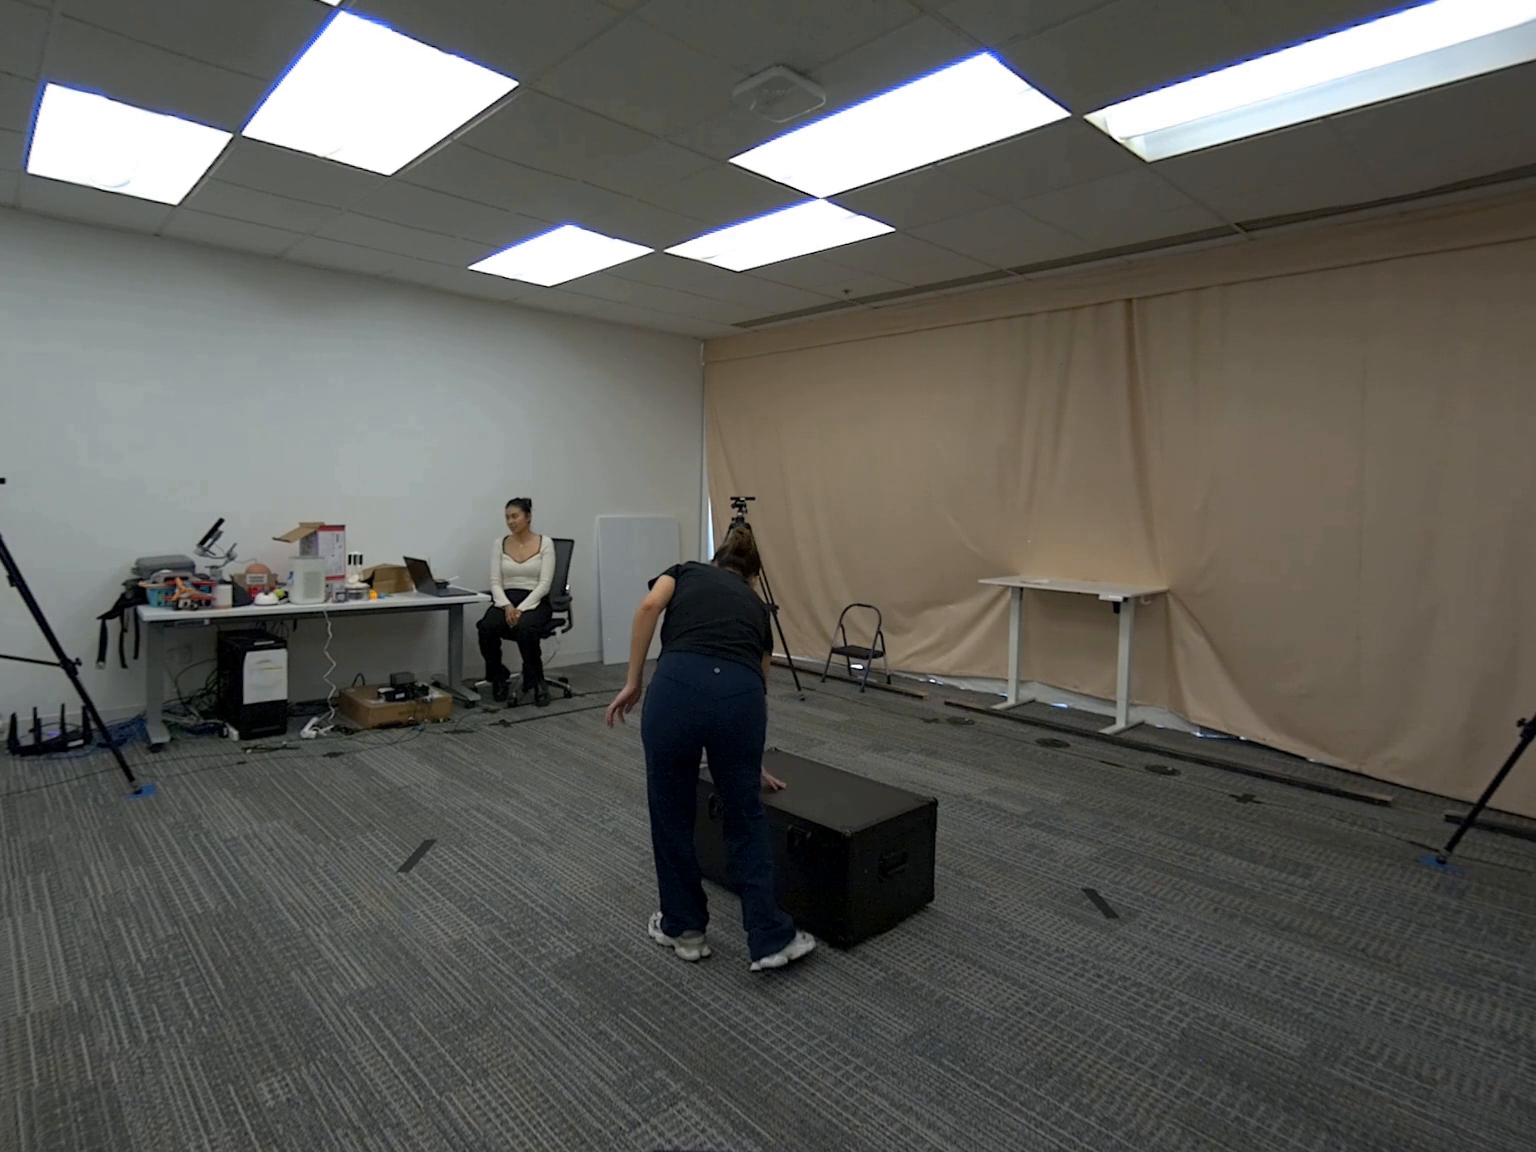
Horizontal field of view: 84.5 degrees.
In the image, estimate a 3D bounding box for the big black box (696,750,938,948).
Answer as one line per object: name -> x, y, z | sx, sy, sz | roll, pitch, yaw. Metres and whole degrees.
big black box -> 0.103, 0.914, 3.014 | 0.509, 0.395, 0.883 | -3, 6, -44
